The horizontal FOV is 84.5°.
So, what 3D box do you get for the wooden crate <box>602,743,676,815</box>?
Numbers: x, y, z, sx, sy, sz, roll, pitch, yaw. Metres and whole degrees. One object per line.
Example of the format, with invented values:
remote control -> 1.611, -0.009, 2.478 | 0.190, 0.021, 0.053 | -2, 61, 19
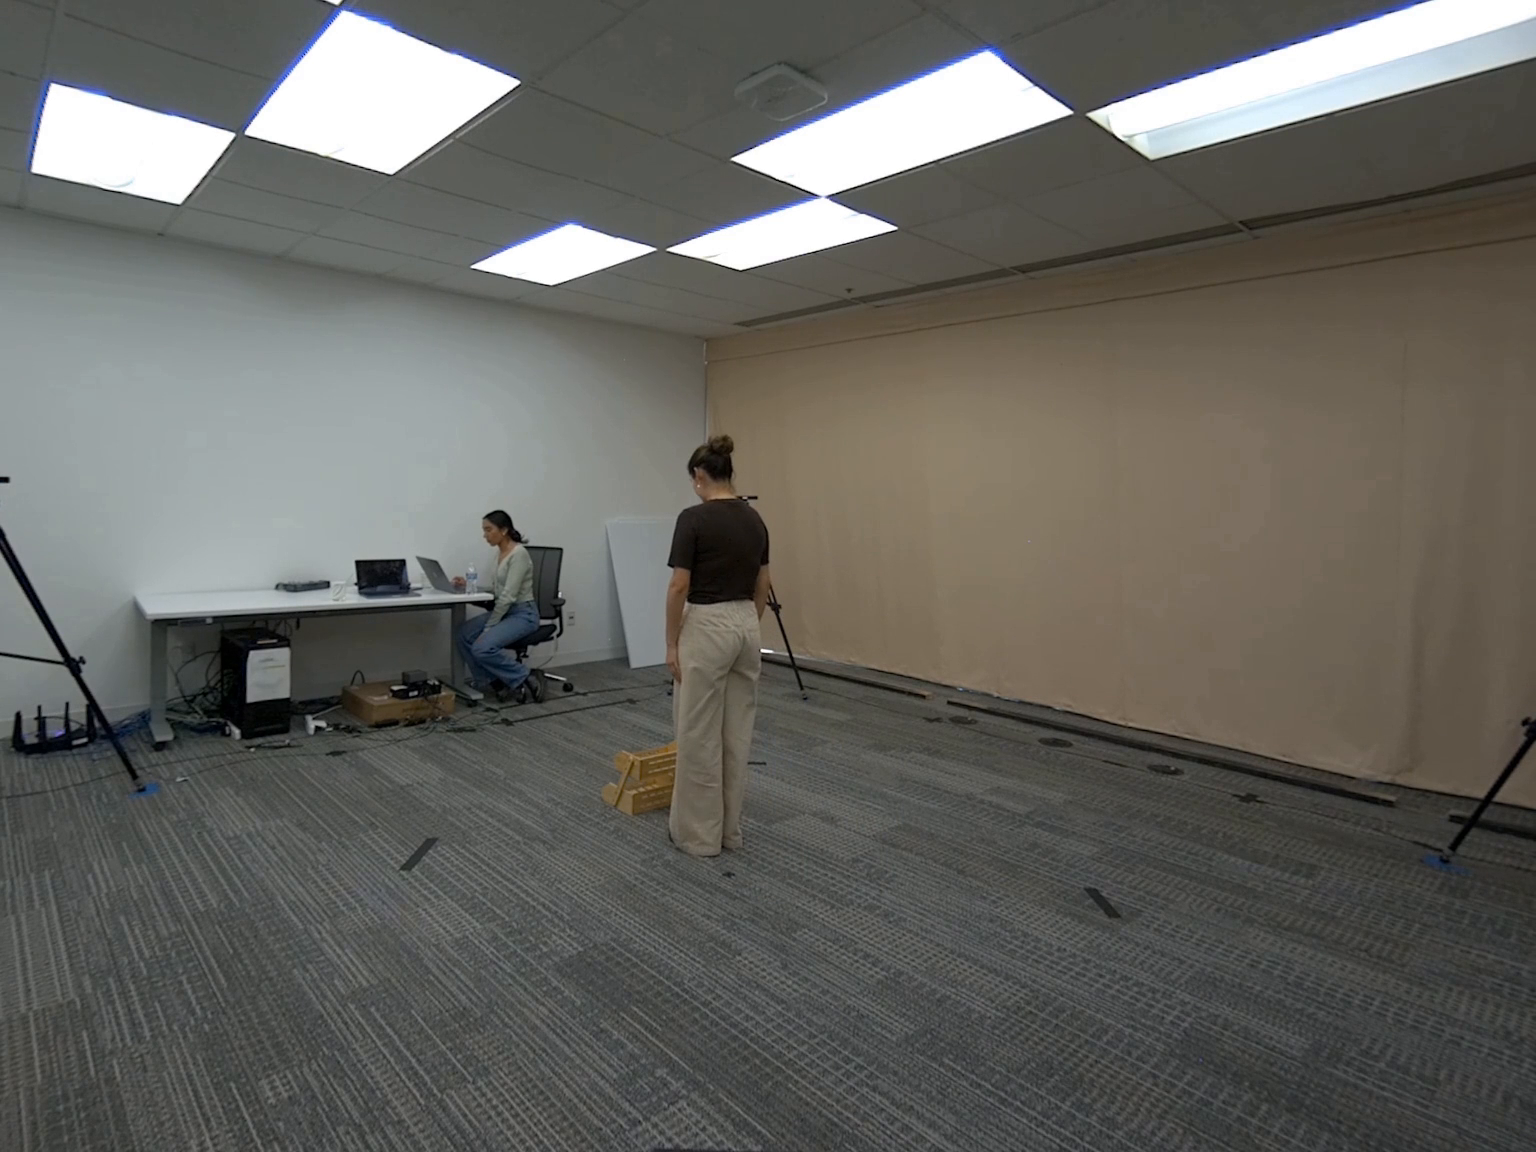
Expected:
wooden crate -> -0.561, 0.898, 3.834 | 0.317, 0.272, 0.310 | -2, 6, -43
